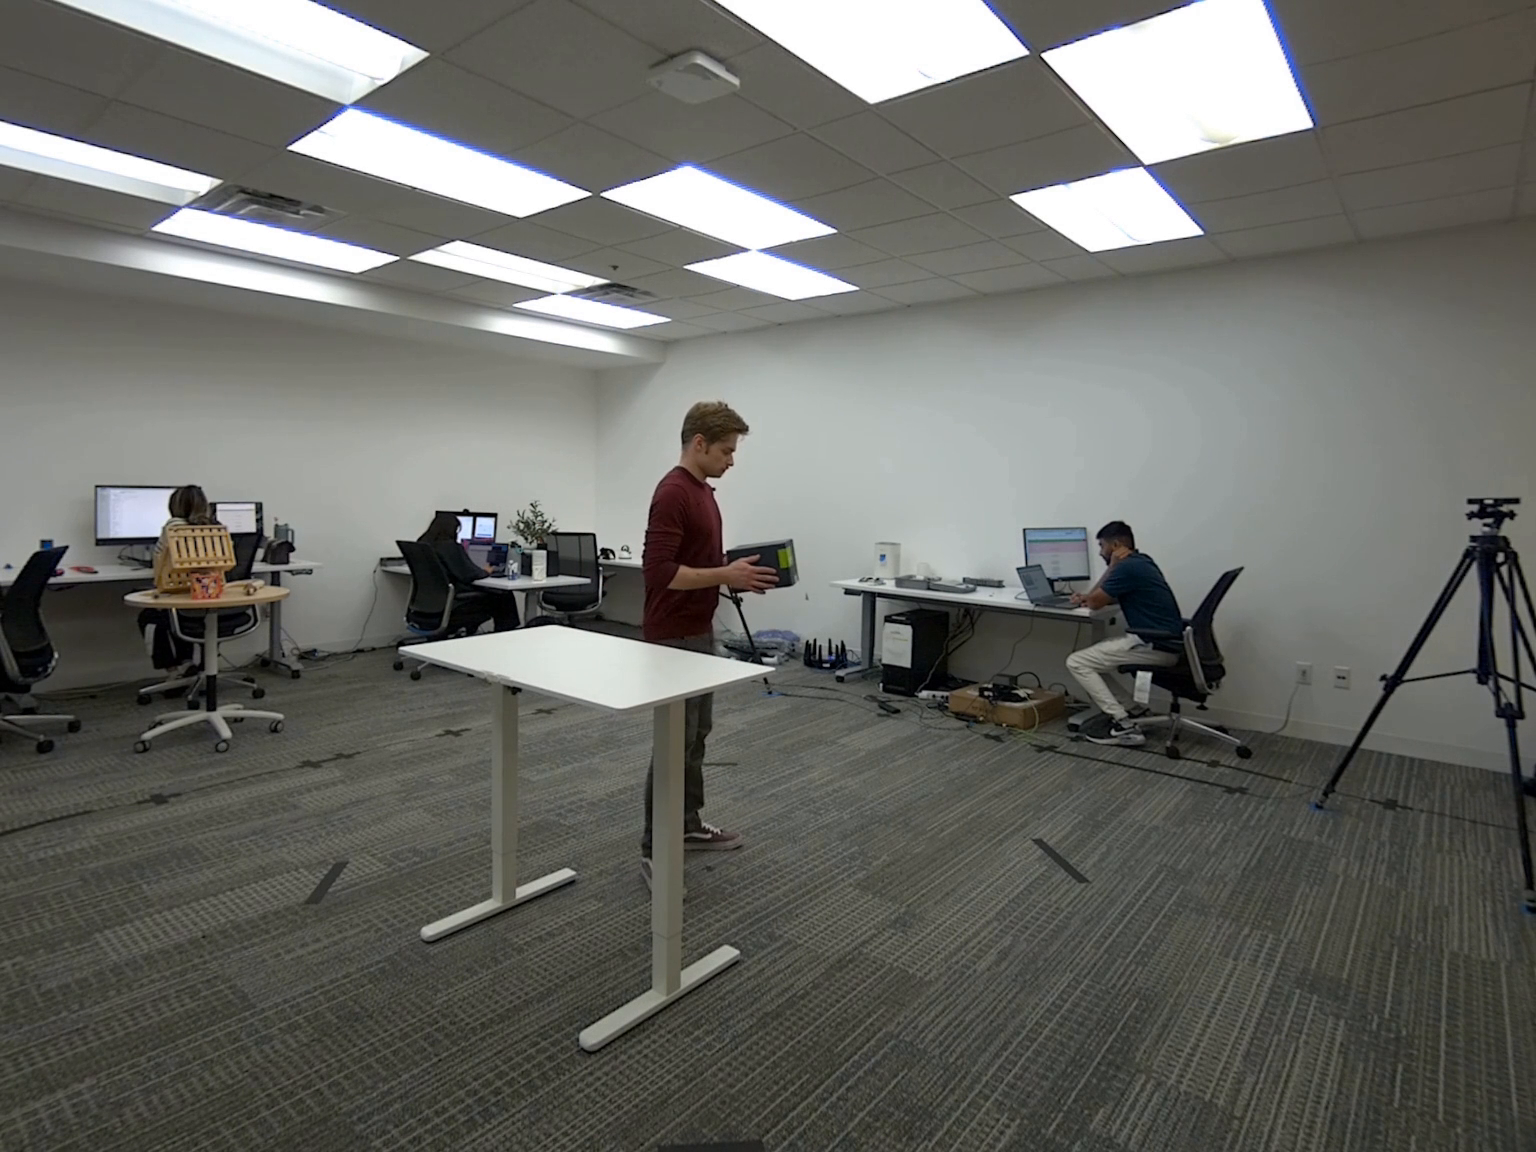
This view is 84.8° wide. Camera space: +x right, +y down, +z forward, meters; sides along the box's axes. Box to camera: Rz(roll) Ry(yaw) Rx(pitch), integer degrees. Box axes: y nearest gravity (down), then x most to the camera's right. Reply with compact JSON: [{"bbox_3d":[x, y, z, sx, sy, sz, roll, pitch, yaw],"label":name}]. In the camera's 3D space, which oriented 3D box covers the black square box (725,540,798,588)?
[{"bbox_3d":[-0.026,-0.039,3.074,0.219,0.155,0.226,-7,3,10],"label":"black square box"}]
